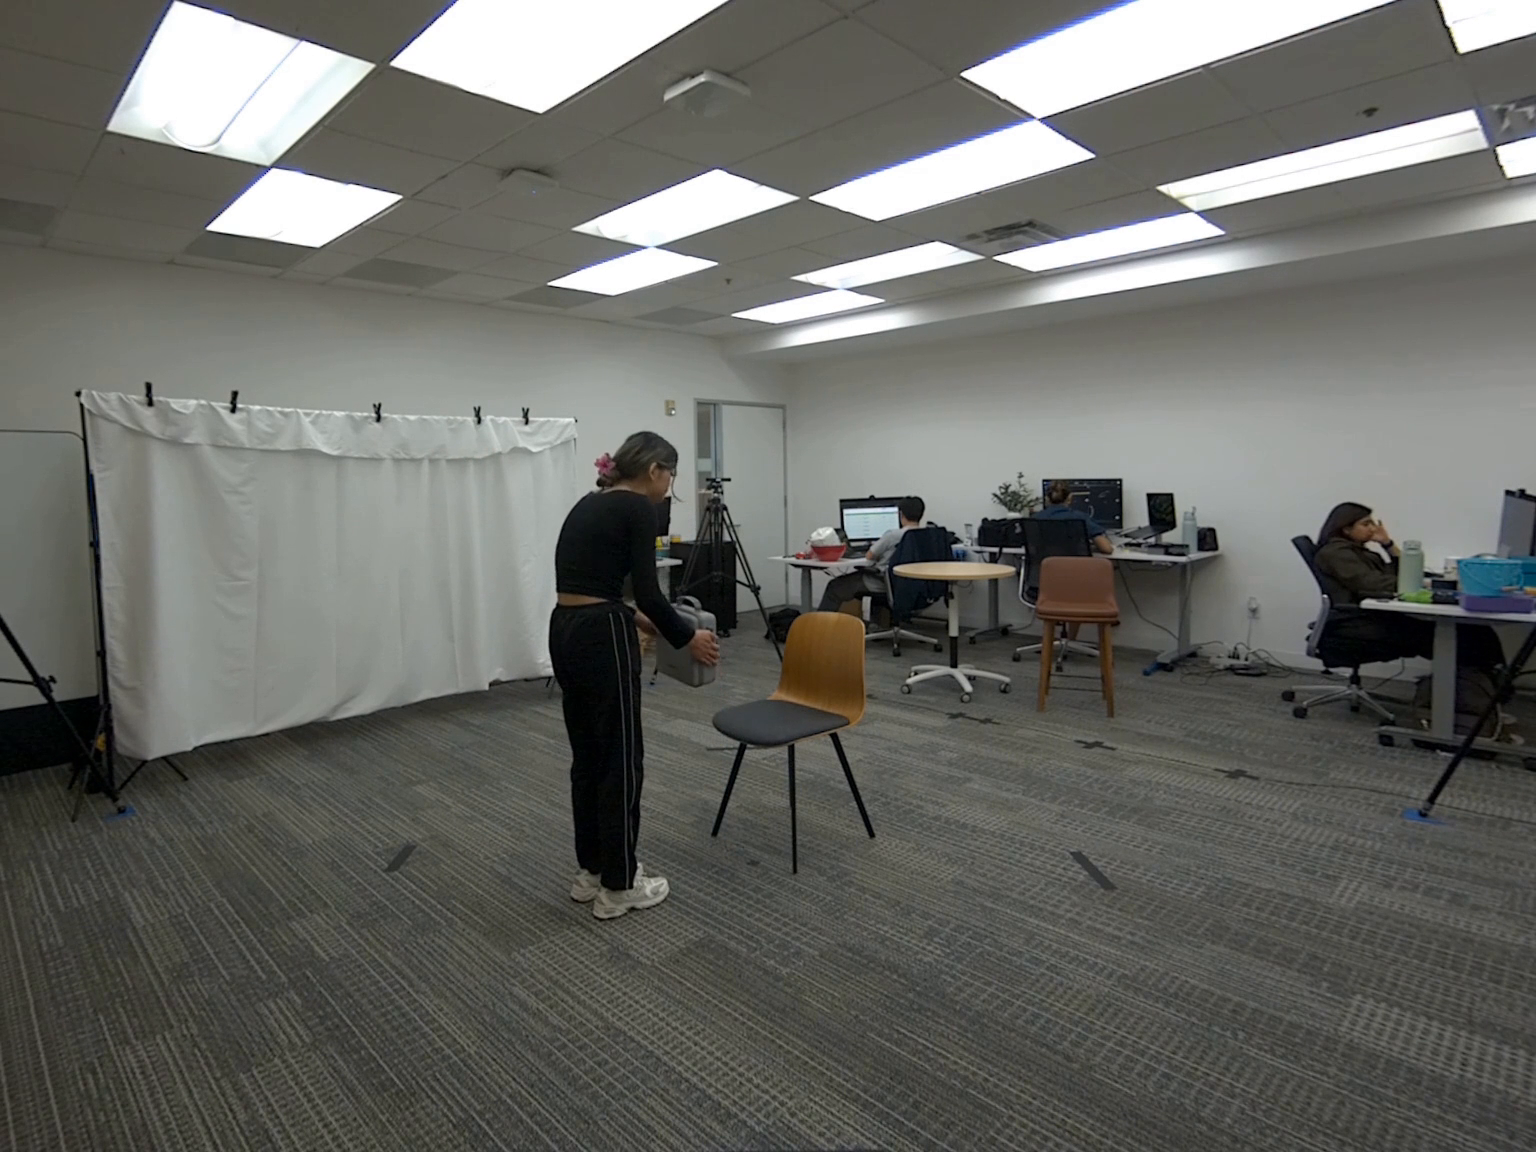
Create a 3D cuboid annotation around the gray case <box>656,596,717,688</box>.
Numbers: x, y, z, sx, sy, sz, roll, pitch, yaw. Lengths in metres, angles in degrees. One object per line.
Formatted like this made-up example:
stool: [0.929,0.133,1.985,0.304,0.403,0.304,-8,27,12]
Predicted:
gray case: [-0.289,0.233,3.003,0.102,0.259,0.265,-4,9,-36]
